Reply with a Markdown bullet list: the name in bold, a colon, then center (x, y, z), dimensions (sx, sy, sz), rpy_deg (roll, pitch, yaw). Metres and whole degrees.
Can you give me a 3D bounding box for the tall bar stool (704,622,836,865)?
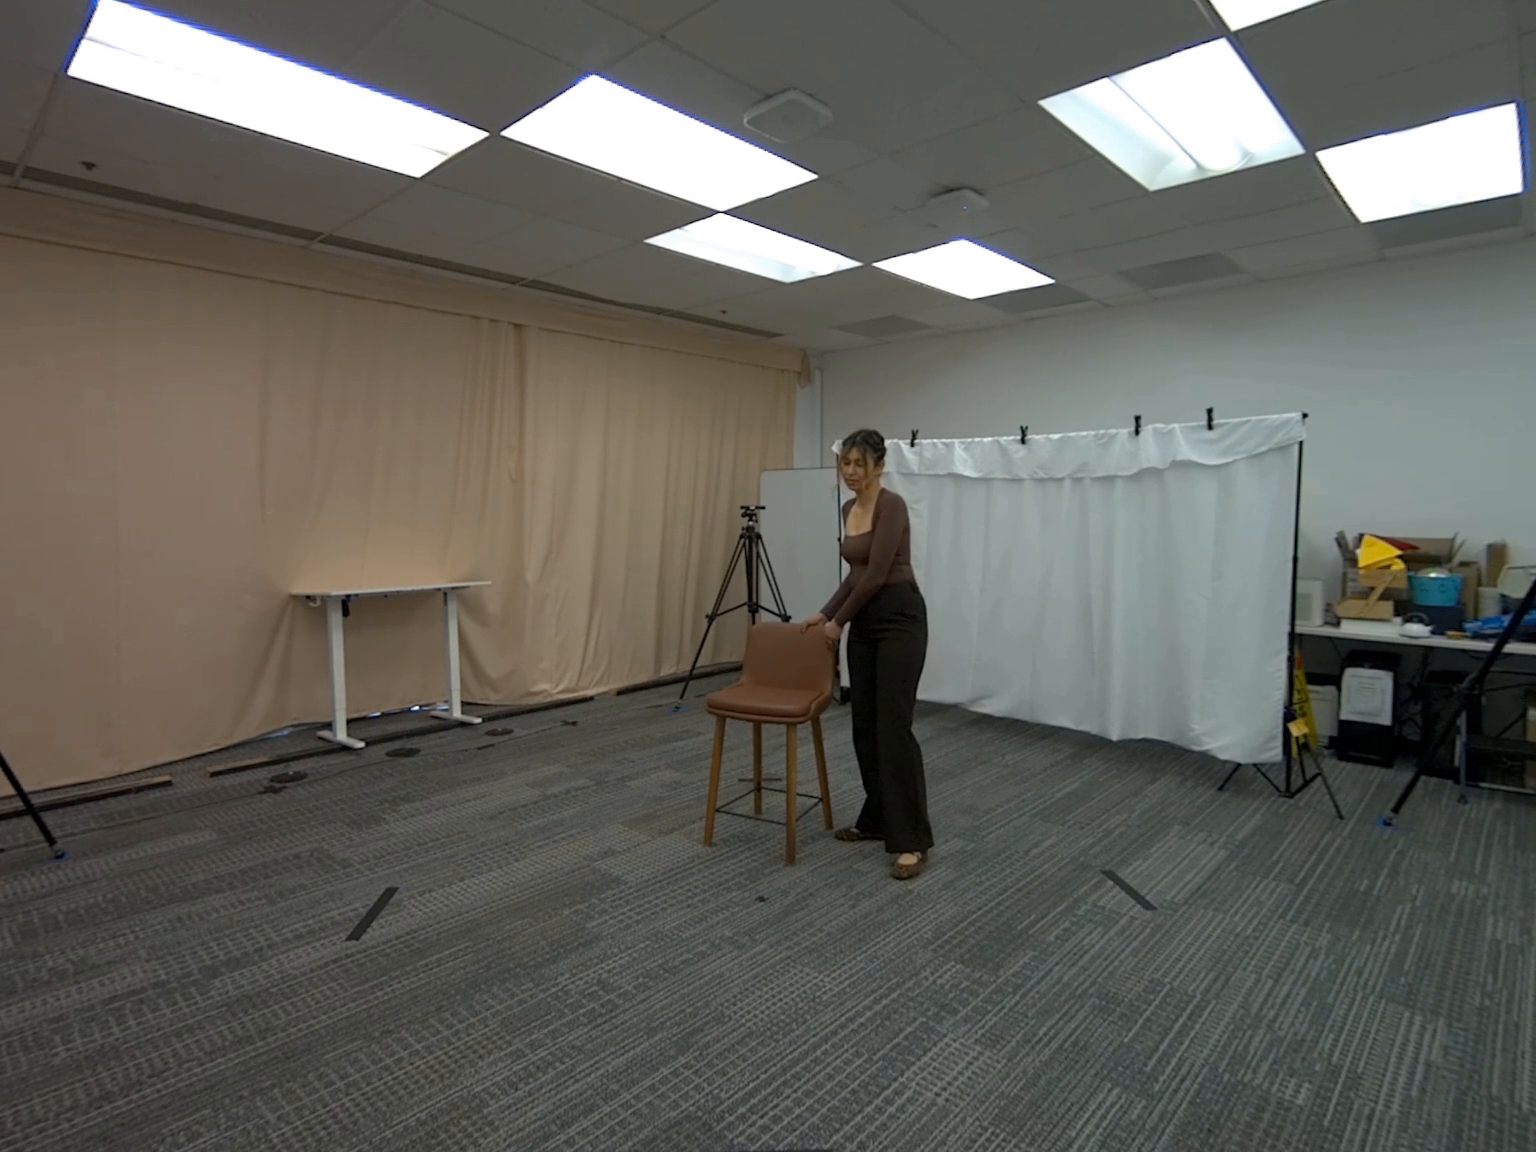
- **tall bar stool**: center (0.022, 0.664, 3.535), dimensions (0.469, 0.889, 0.455), rpy_deg (1, 1, 29)
